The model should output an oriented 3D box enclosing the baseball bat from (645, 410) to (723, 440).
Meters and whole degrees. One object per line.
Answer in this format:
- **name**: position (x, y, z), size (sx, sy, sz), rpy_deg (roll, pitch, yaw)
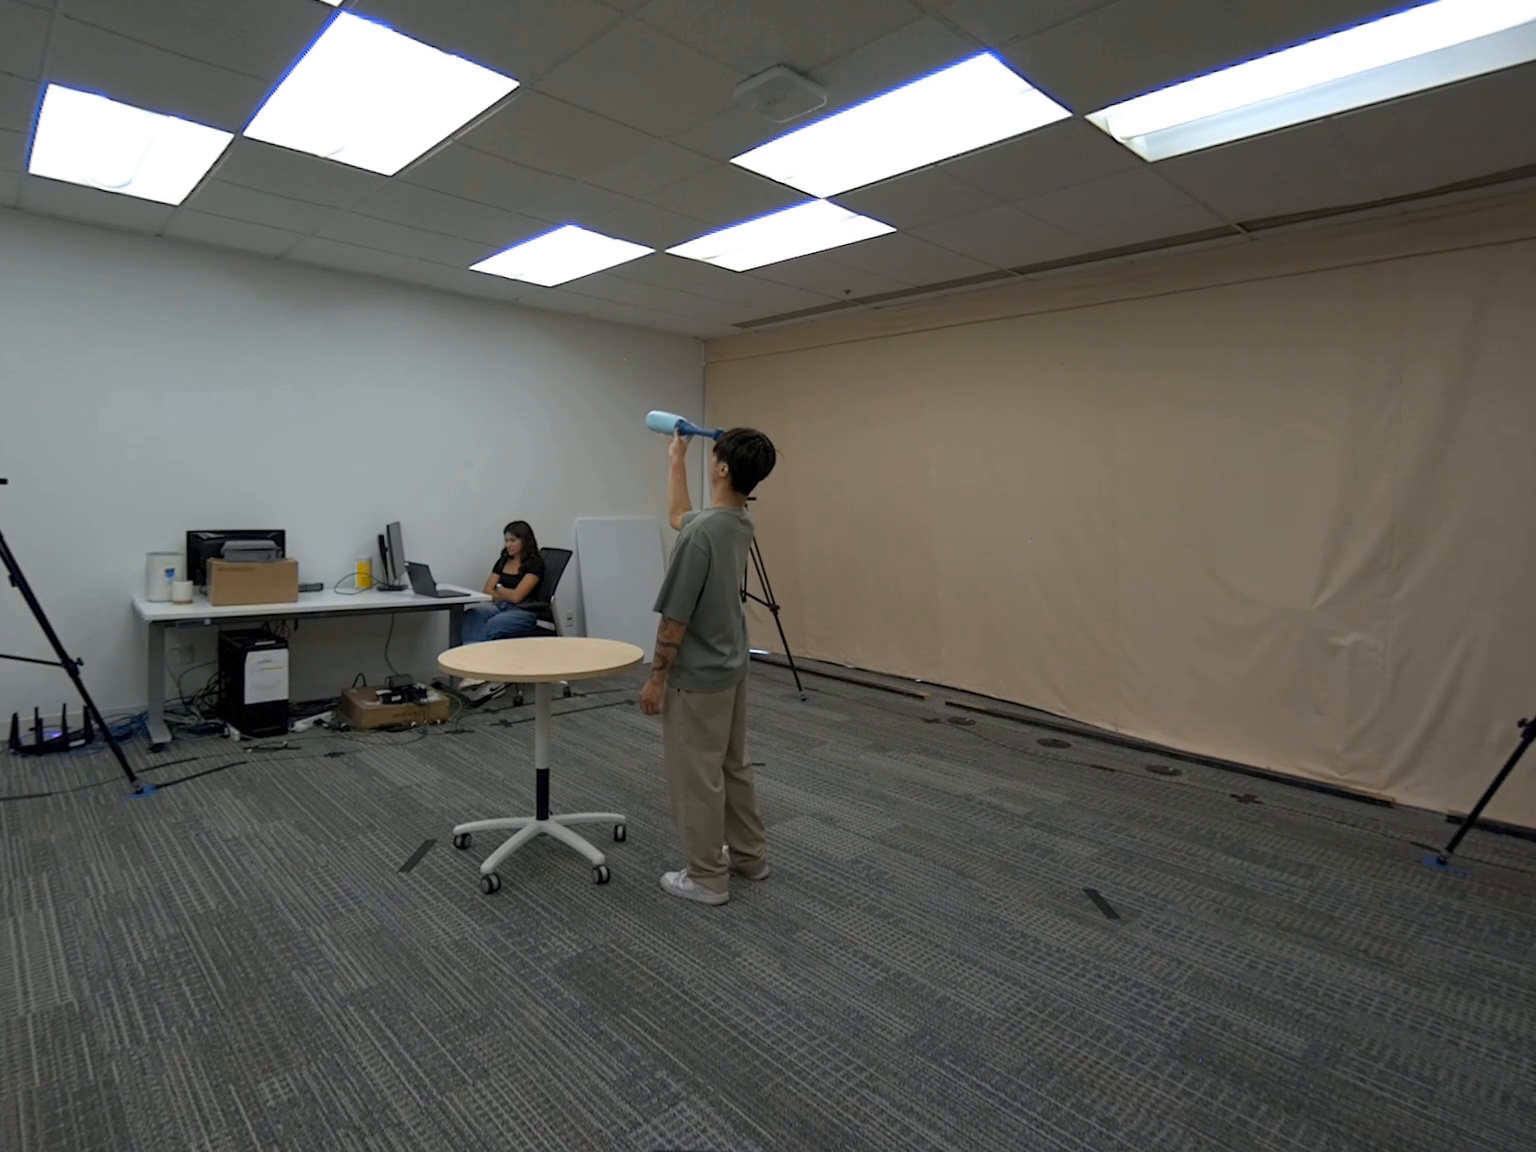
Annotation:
- **baseball bat**: position (-0.326, -0.573, 3.253), size (0.087, 0.088, 0.559), rpy_deg (-1, 16, -32)
